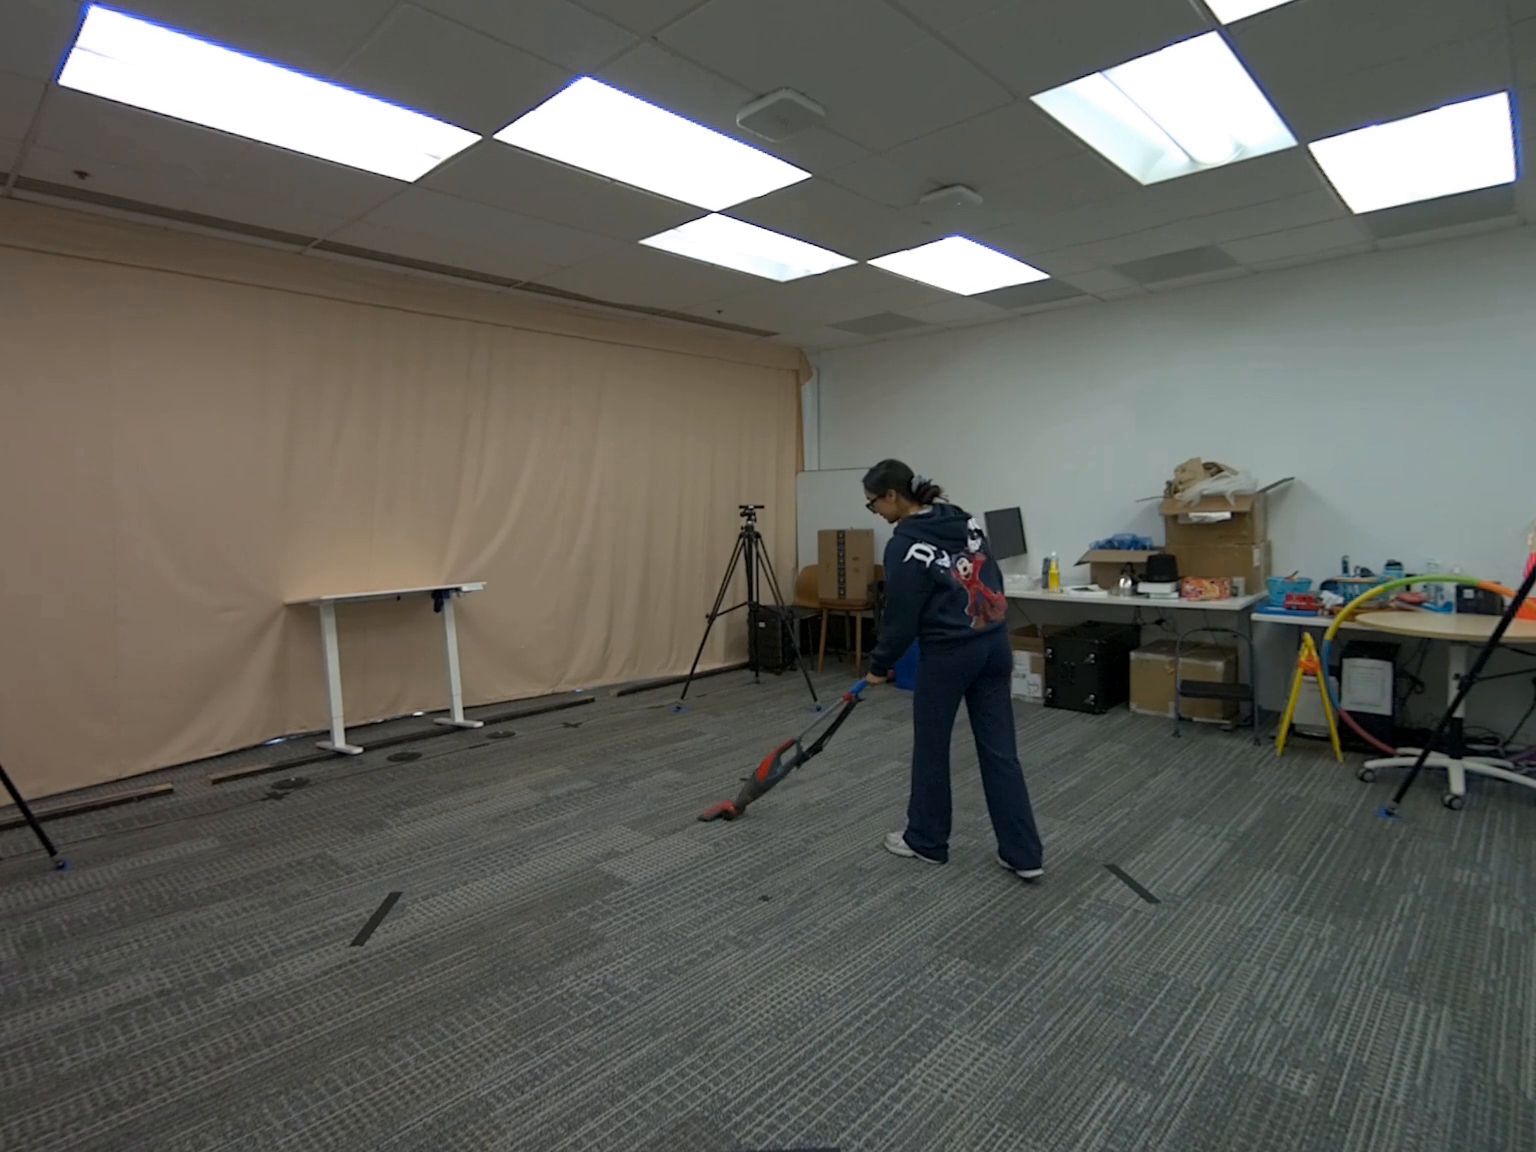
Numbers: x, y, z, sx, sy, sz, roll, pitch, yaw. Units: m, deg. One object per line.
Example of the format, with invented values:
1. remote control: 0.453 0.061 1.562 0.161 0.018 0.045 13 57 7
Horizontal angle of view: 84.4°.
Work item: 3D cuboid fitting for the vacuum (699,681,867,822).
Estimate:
1. vacuum: 0.141 0.735 3.578 1.057 0.146 0.246 -44 -16 25
